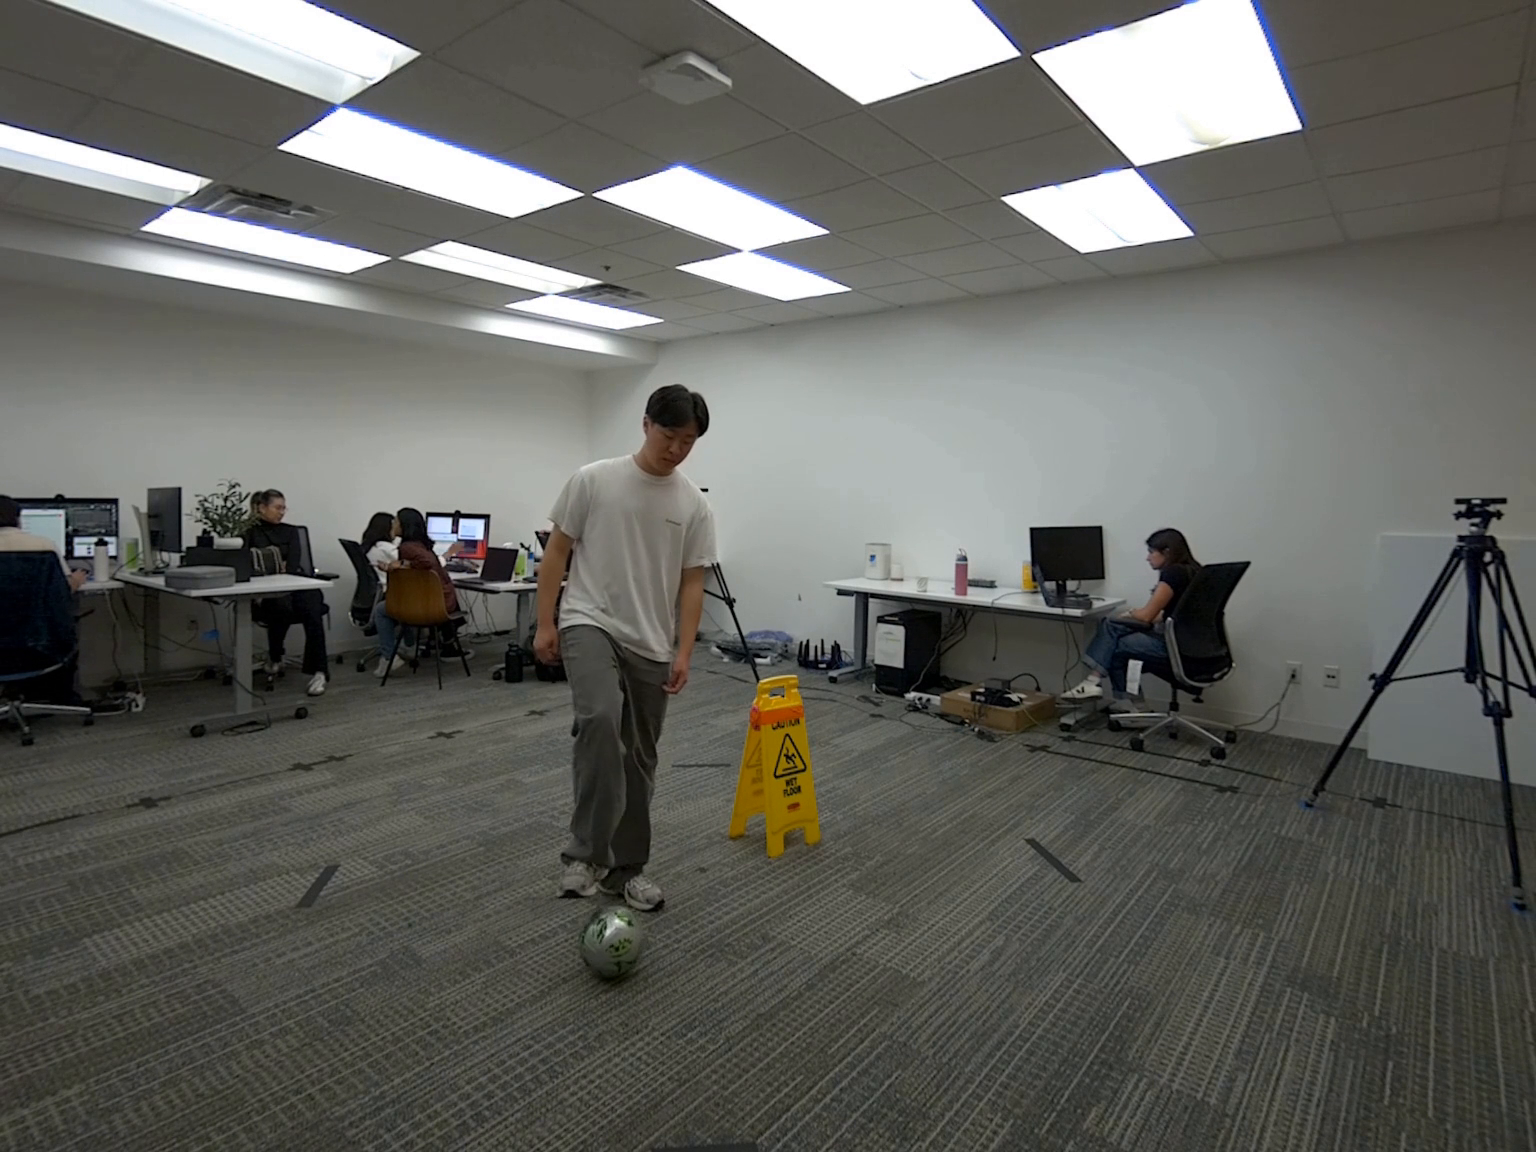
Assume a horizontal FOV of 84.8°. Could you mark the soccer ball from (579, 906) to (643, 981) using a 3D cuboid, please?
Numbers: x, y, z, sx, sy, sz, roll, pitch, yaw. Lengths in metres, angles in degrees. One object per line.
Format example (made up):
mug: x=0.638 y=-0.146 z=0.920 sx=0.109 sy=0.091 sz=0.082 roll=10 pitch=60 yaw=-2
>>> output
soccer ball: x=-0.451 y=1.037 z=2.430 sx=0.187 sy=0.187 sz=0.188 roll=1 pitch=4 yaw=-2
